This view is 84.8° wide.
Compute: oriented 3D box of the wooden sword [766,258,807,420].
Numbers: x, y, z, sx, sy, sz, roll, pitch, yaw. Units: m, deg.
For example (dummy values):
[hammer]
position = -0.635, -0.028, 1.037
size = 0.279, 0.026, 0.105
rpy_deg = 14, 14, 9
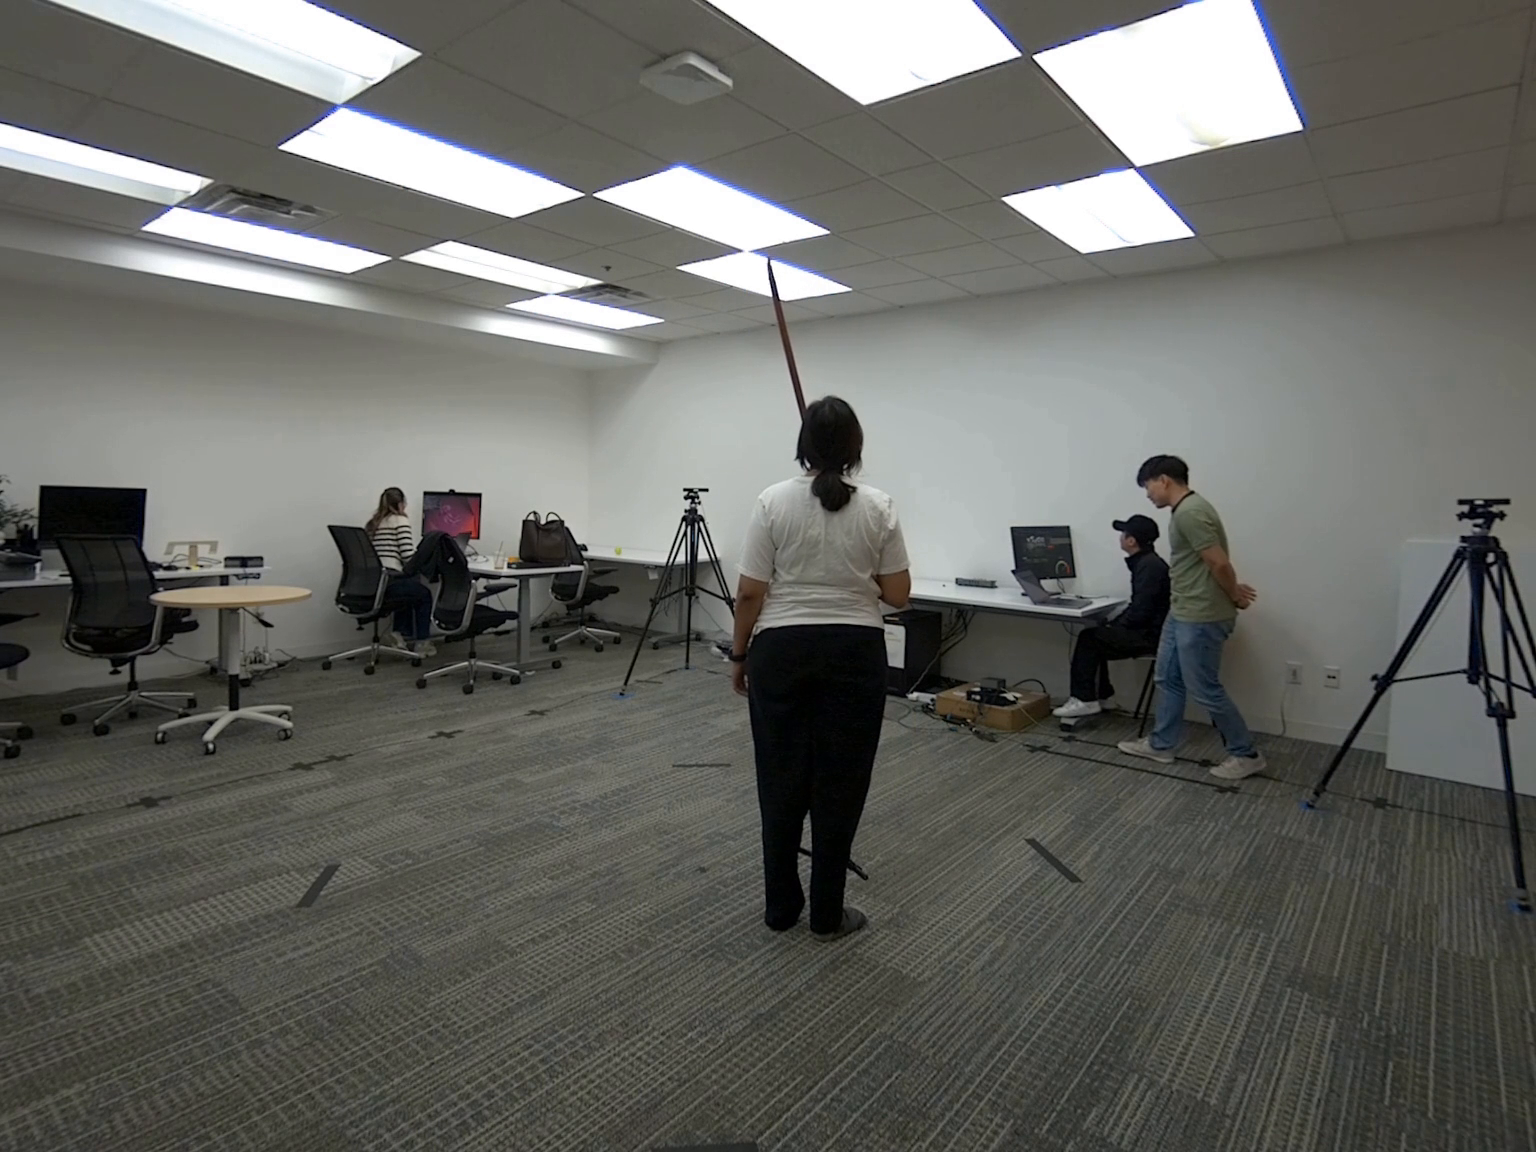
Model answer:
[wooden sword]
position = 0.115, -0.566, 2.870
size = 0.023, 1.014, 0.053
rpy_deg = -20, 9, -31
